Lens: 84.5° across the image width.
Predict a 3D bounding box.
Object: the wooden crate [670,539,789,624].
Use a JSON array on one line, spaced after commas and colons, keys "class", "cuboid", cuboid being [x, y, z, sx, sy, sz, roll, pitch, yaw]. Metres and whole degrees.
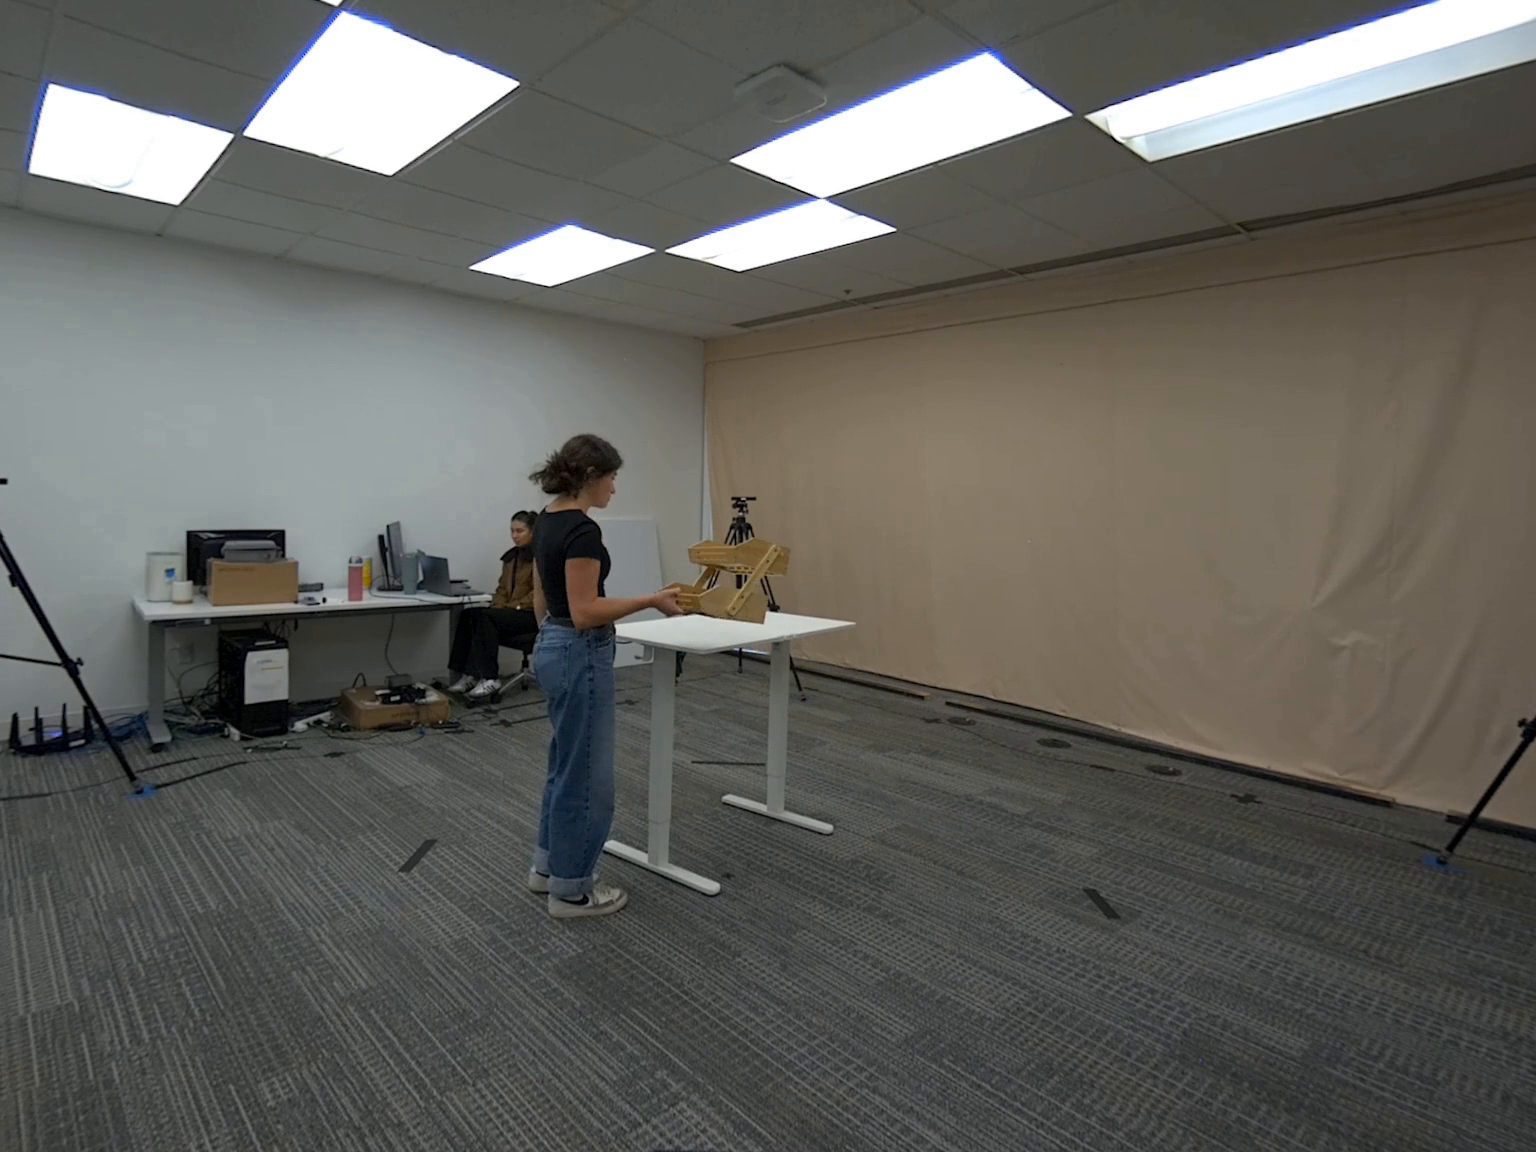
[{"class": "wooden crate", "cuboid": [-0.162, 0.001, 2.750, 0.294, 0.274, 0.331, 15, -8, -33]}]
